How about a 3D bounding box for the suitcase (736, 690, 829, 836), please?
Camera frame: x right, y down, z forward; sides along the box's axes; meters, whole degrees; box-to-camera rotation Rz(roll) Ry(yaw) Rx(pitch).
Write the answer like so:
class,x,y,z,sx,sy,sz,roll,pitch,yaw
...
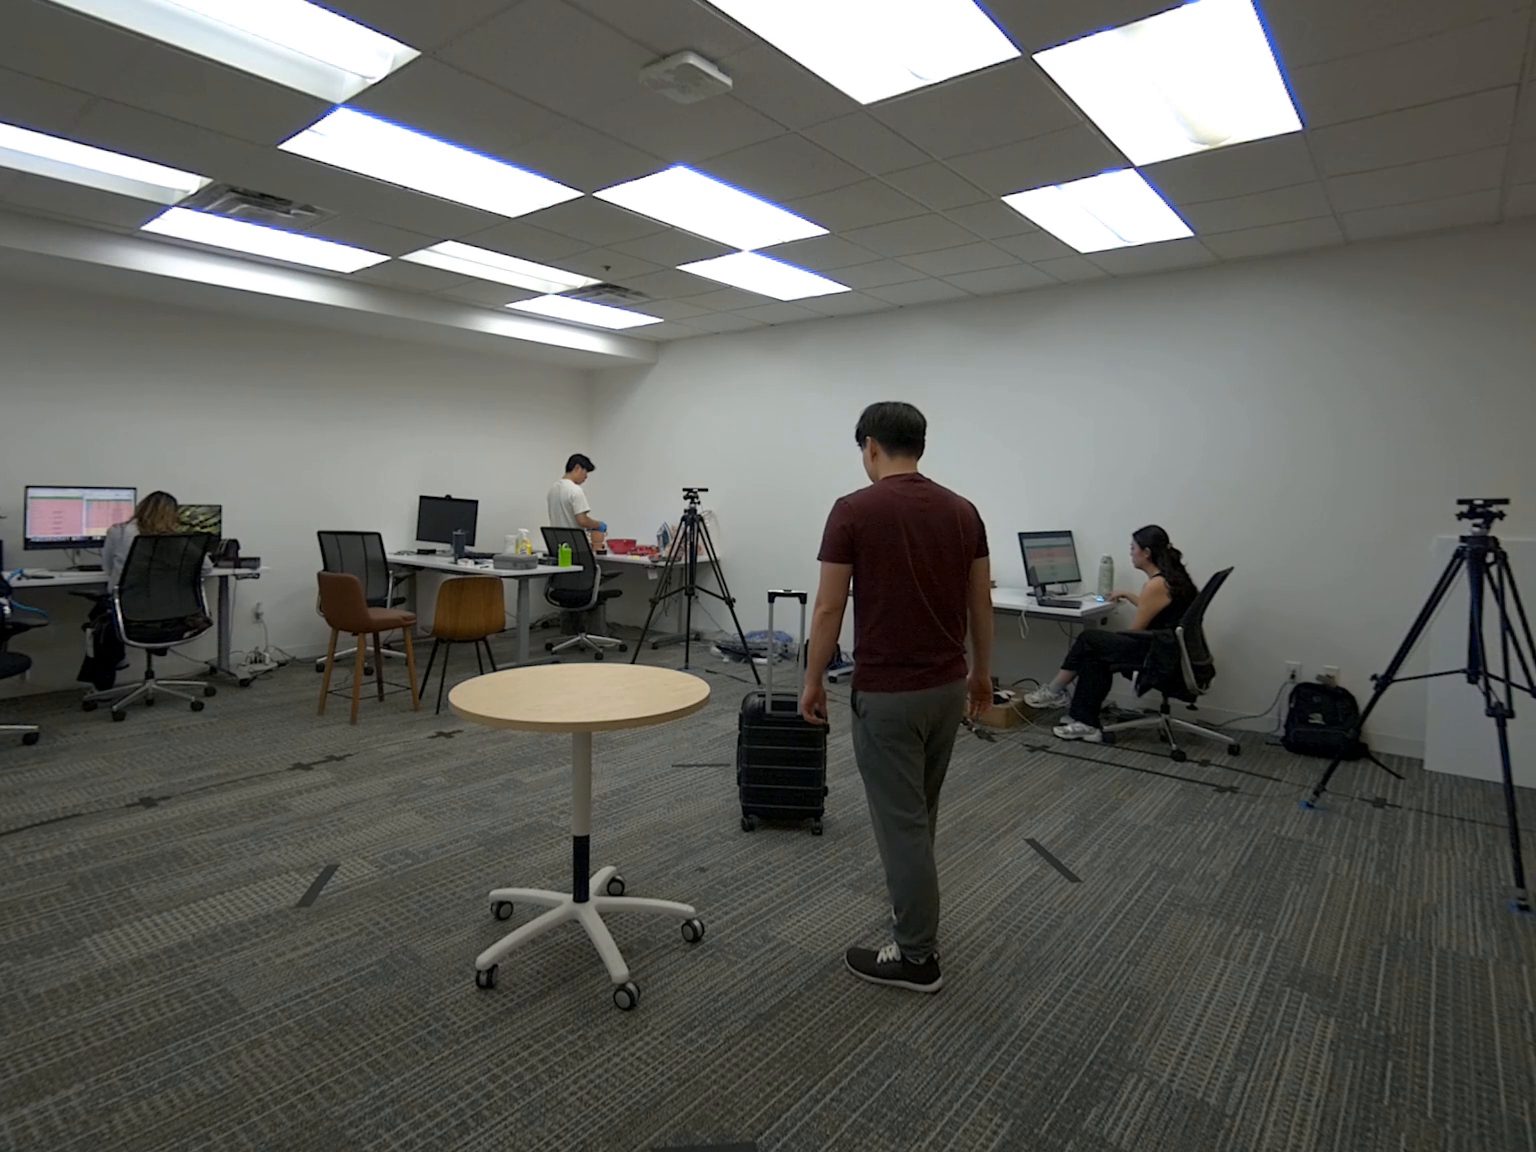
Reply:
class,x,y,z,sx,sy,sz,roll,pitch,yaw
suitcase,0.057,0.550,3.576,0.385,0.978,0.257,1,1,1
